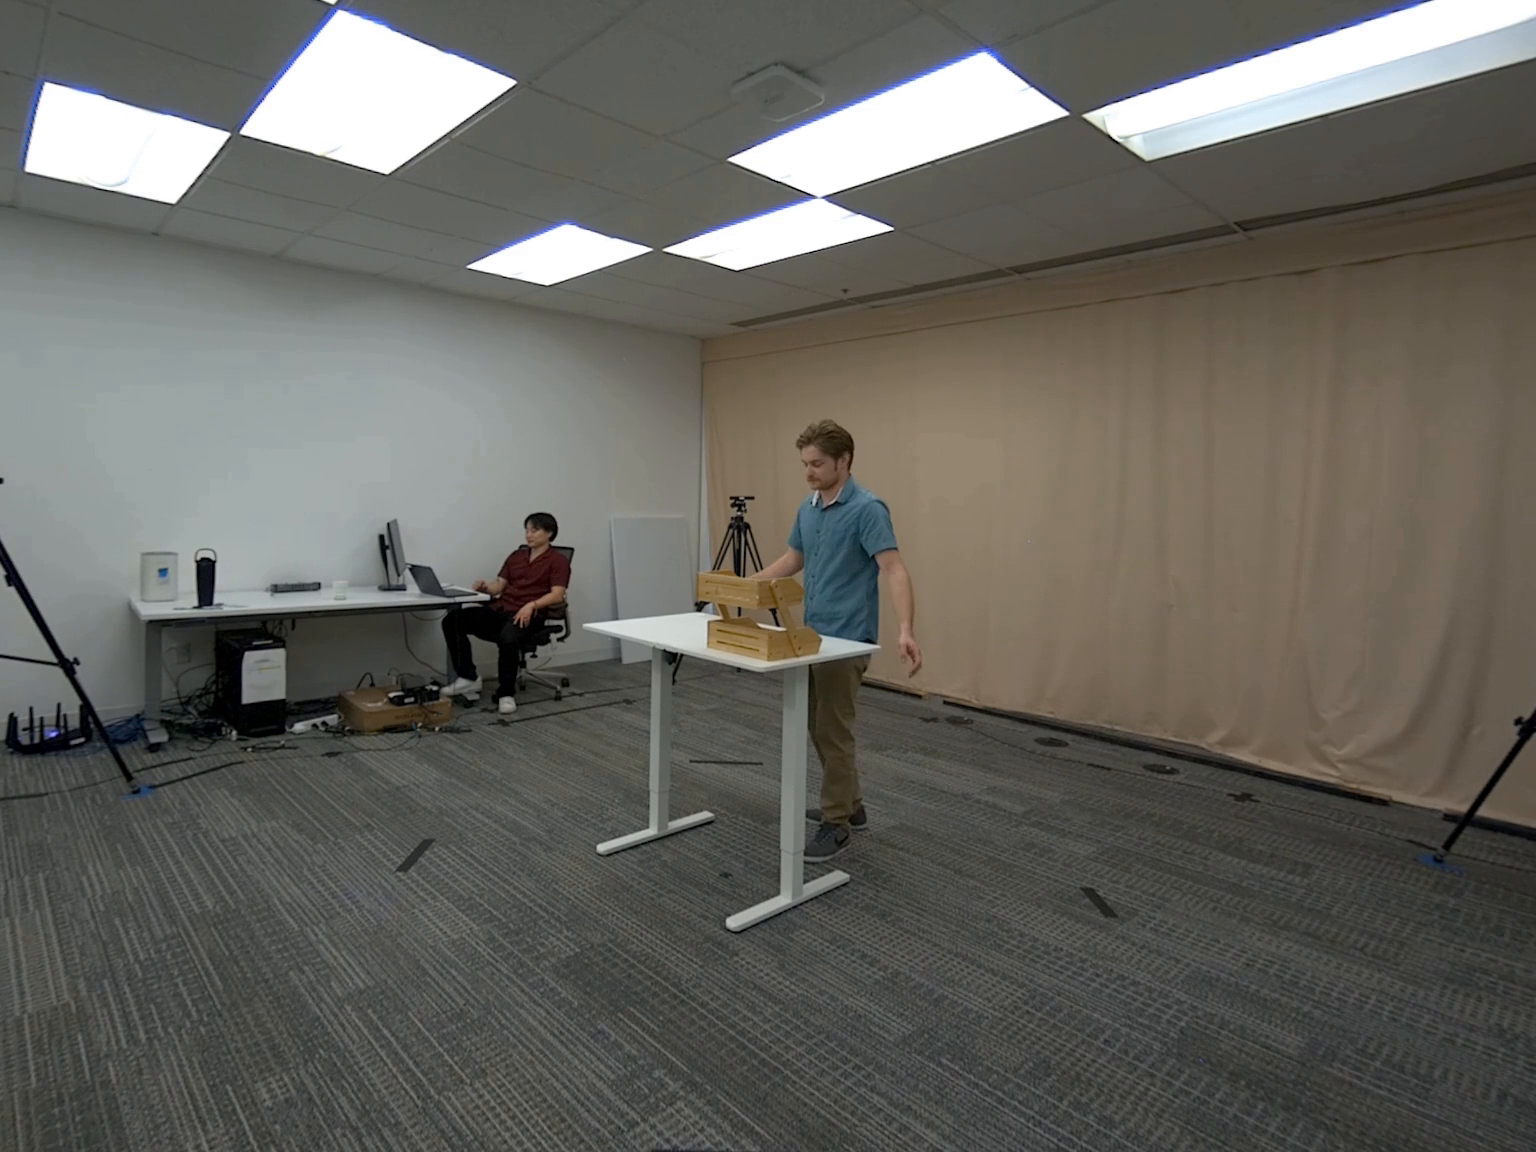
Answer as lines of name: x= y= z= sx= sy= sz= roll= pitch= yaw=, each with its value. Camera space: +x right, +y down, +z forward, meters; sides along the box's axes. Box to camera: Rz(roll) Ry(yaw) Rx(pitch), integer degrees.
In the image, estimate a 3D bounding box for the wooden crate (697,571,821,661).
wooden crate: x=-0.036 y=0.120 z=2.807 sx=0.295 sy=0.272 sz=0.333 roll=-4 pitch=7 yaw=-44
